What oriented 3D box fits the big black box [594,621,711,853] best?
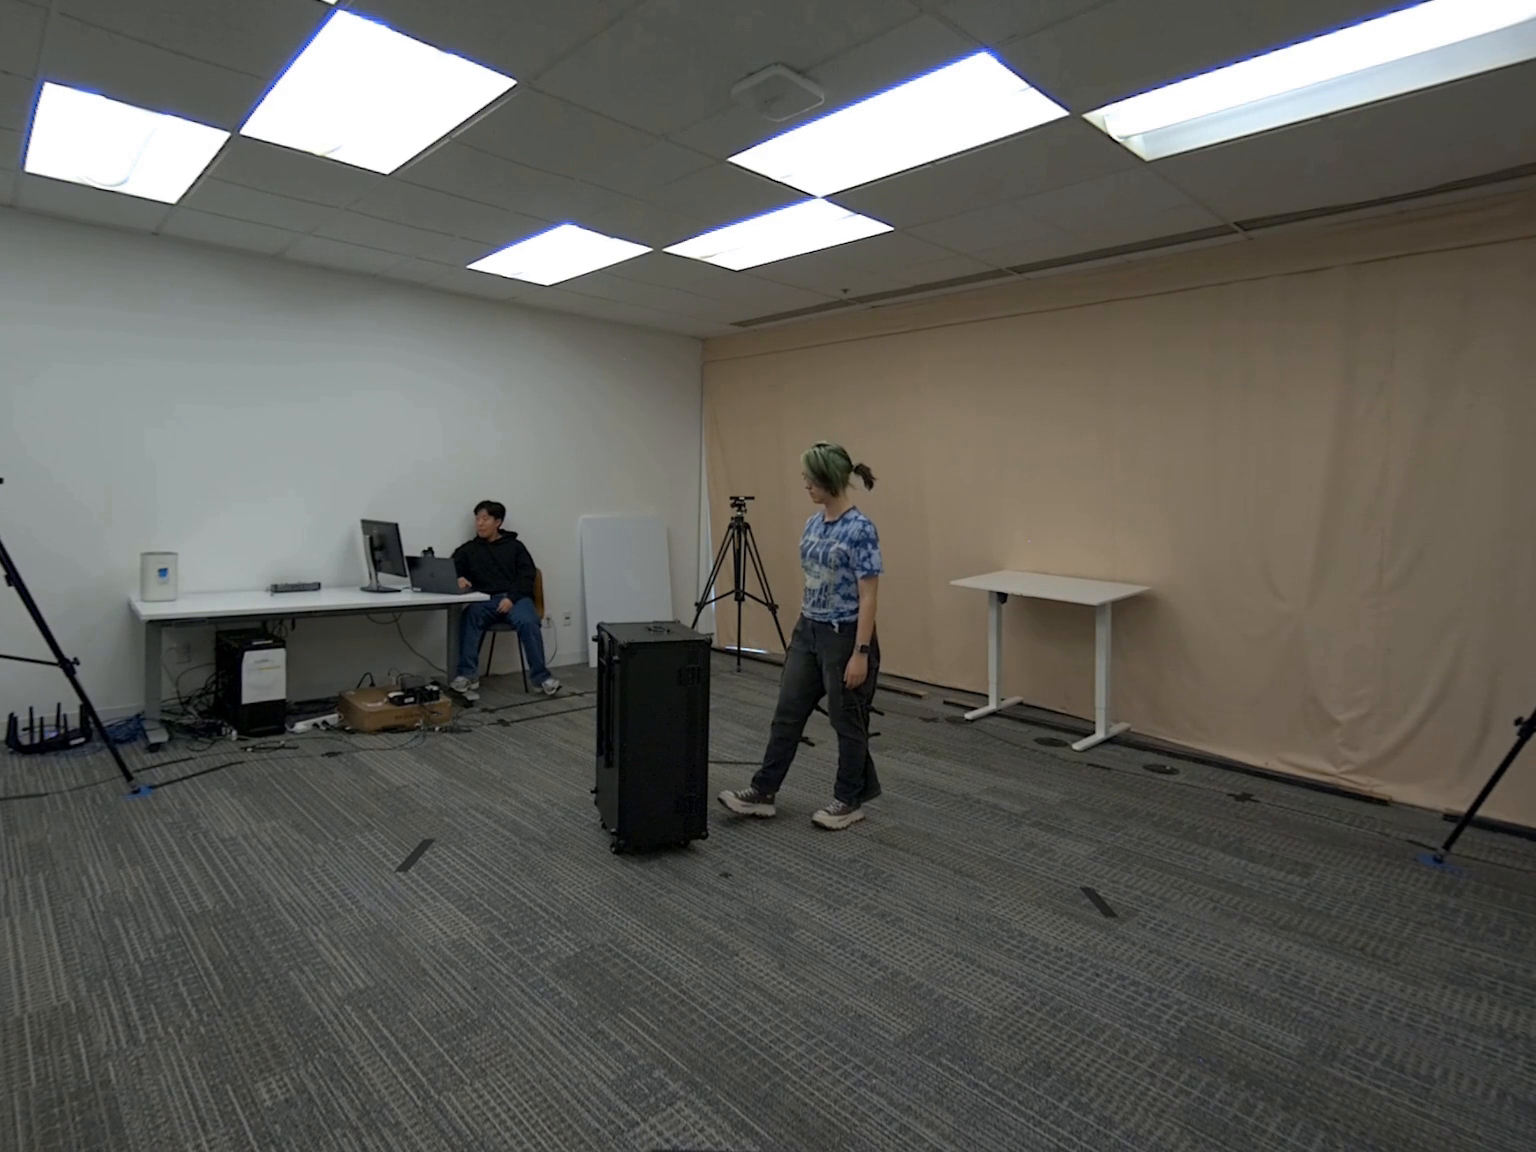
[{"bbox_3d":[-0.493,0.586,3.401,0.390,0.859,0.531,0,4,-21],"label":"big black box"}]
